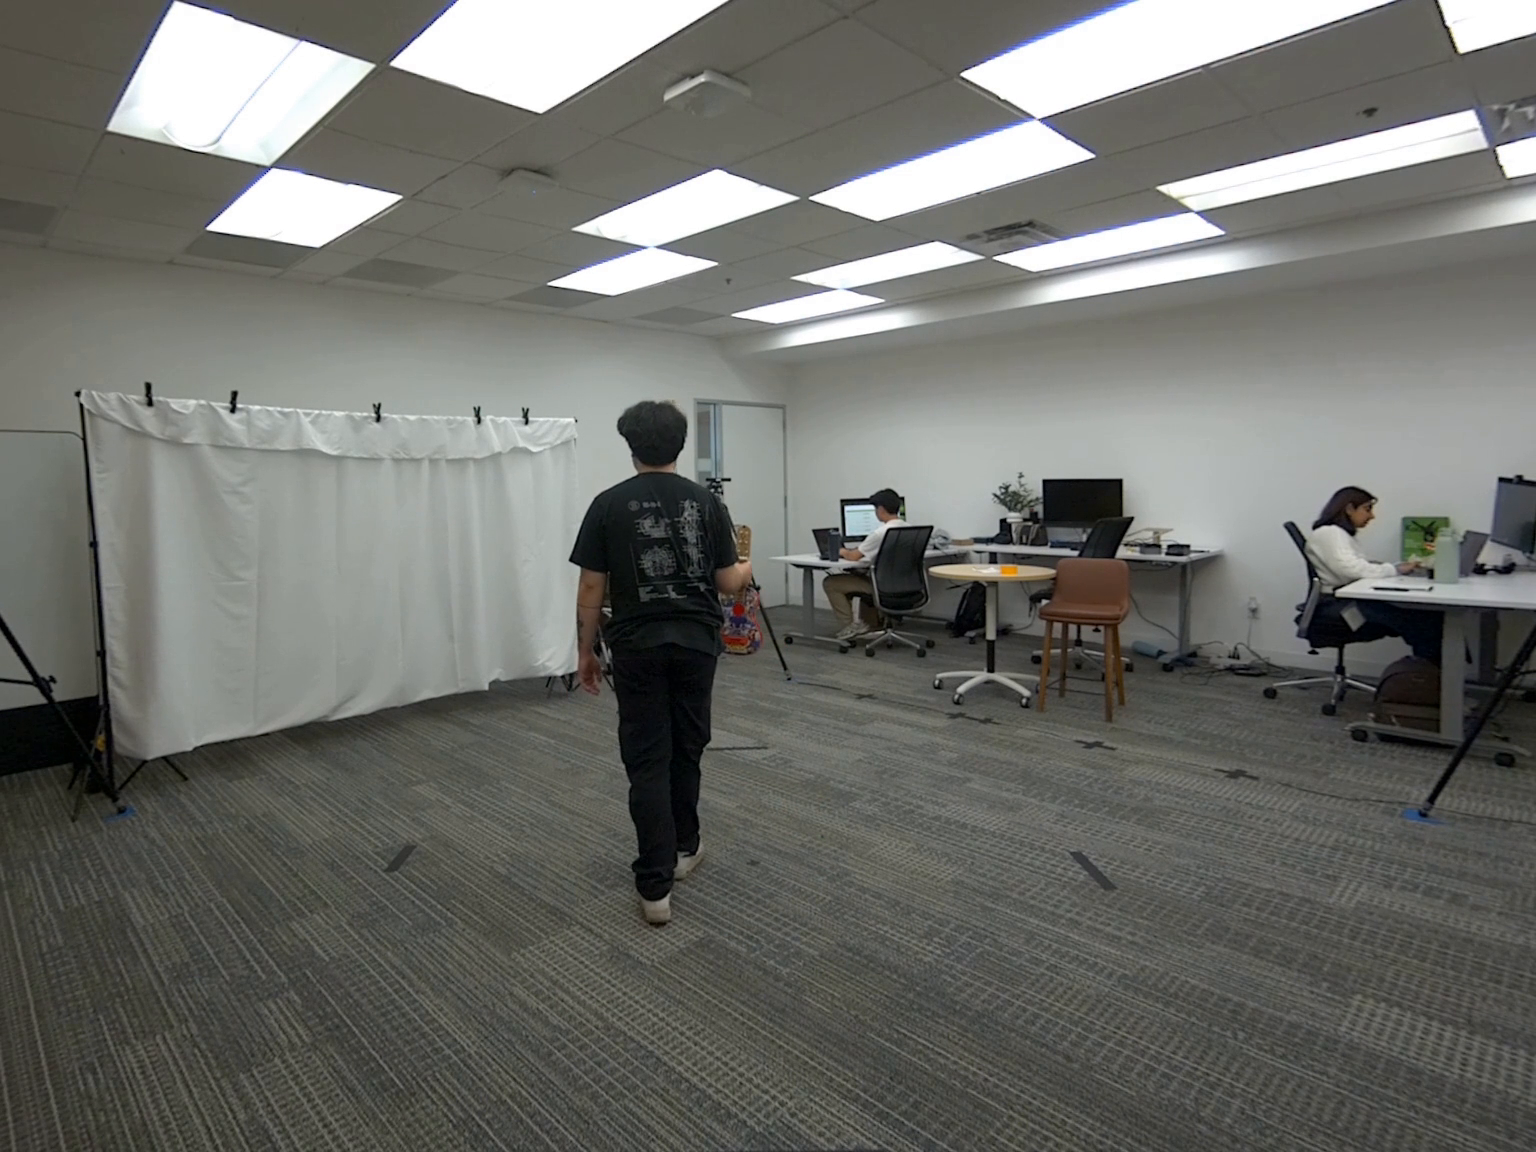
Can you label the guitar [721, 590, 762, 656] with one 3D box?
[{"bbox_3d":[-0.084,0.065,3.317,0.194,0.500,0.070,11,-7,7],"label":"guitar"}]
